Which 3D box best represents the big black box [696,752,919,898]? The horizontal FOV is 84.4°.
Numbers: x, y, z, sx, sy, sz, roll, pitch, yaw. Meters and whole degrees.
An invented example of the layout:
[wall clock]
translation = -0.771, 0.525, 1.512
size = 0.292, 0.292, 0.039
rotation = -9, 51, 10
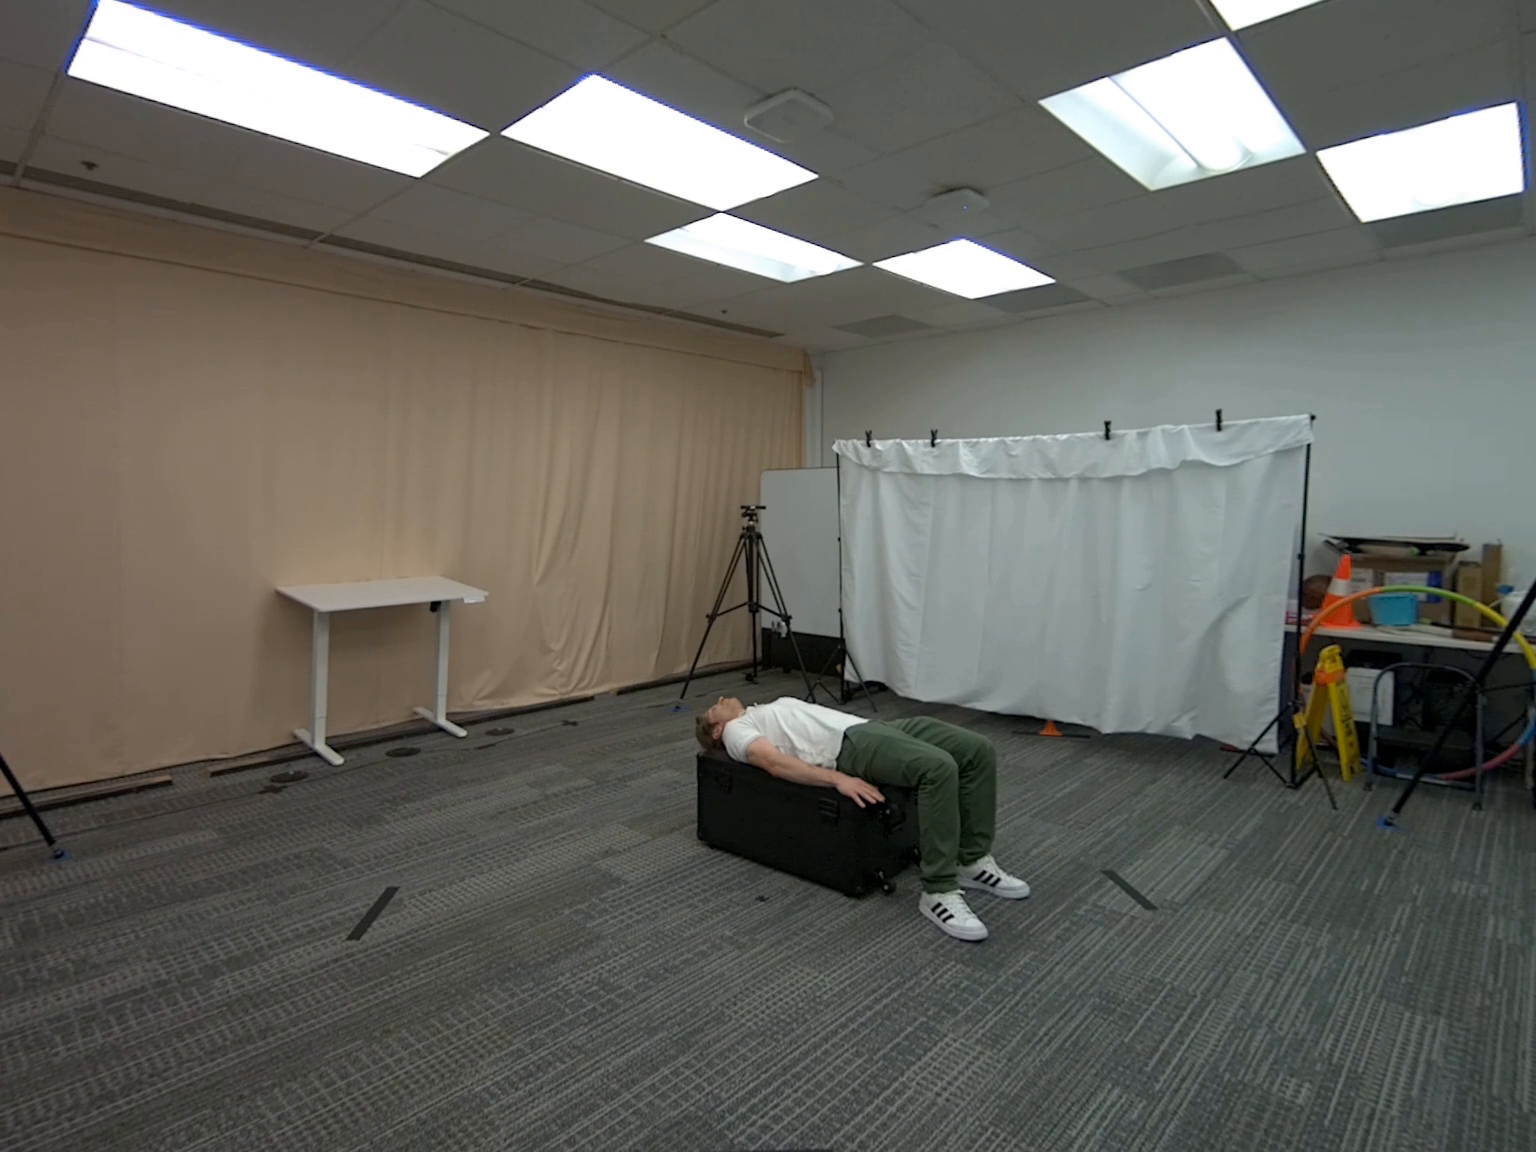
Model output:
[big black box]
translation = 0.191, 0.926, 3.346
size = 0.897, 0.384, 0.507
rotation = 5, 5, 39
